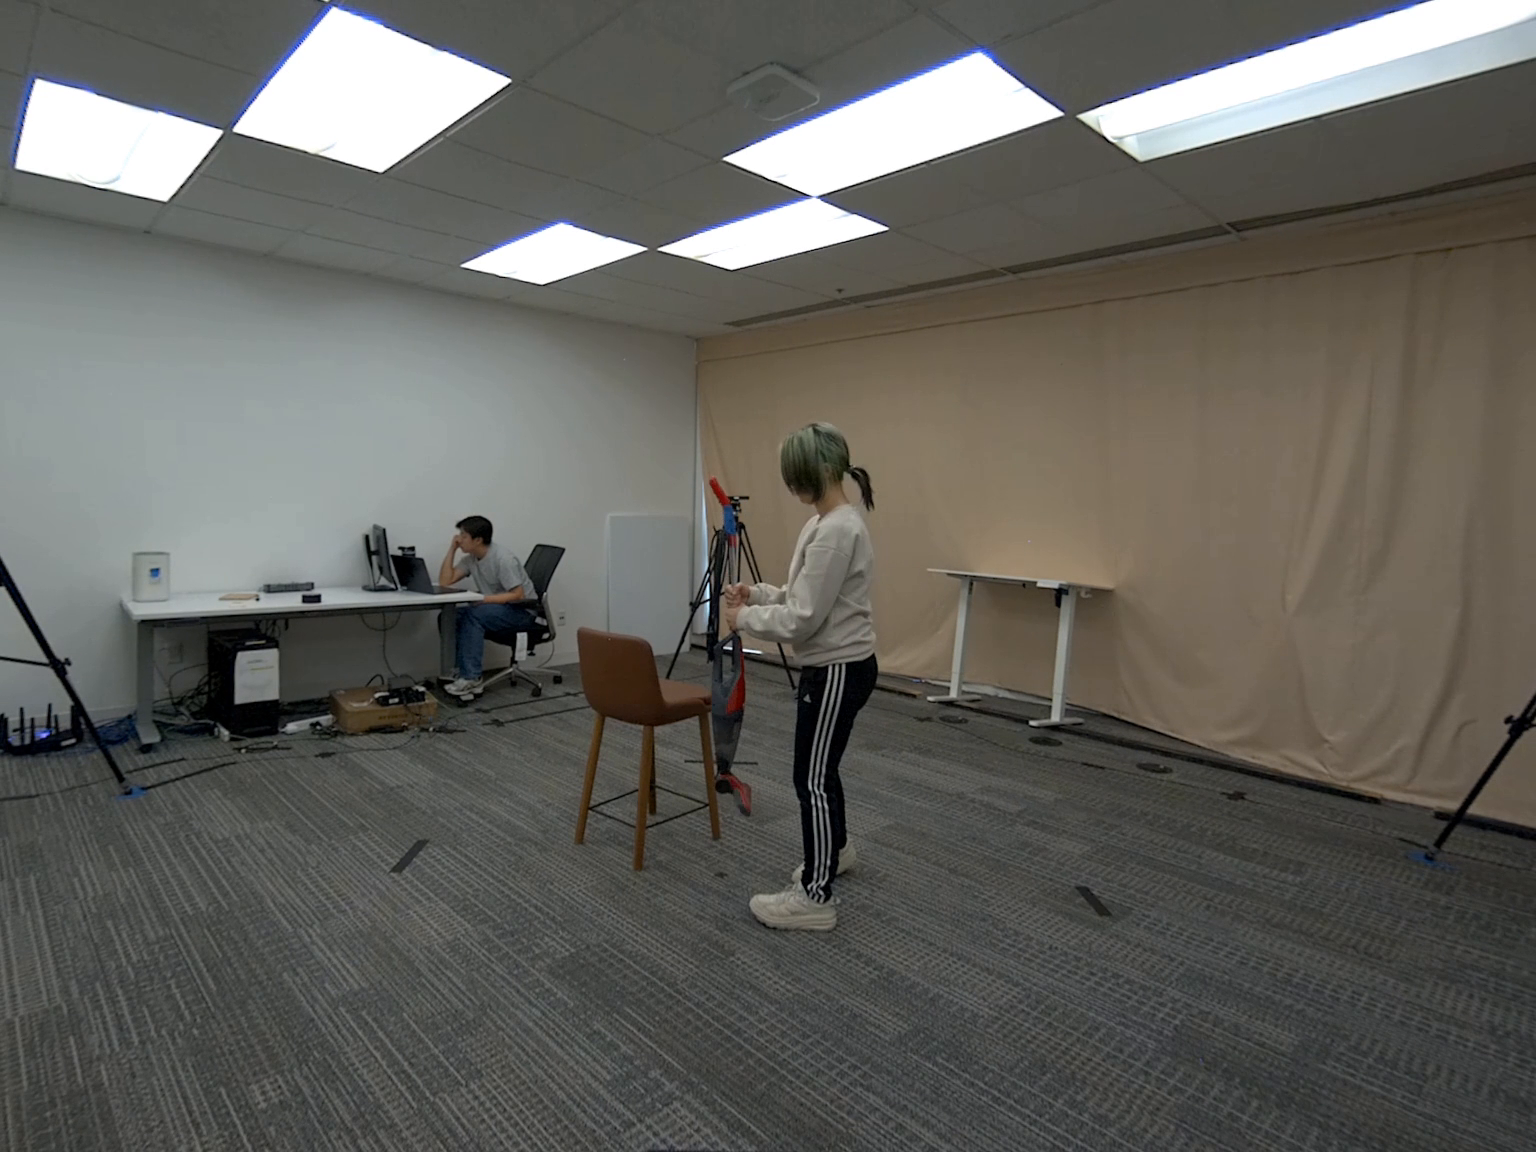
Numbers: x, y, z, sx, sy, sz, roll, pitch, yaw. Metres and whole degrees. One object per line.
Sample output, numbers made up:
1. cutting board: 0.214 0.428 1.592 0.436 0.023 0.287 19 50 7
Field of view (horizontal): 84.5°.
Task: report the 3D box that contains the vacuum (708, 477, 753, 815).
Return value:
1. vacuum: -0.148 0.205 2.828 0.144 1.047 0.253 -4 2 -3
